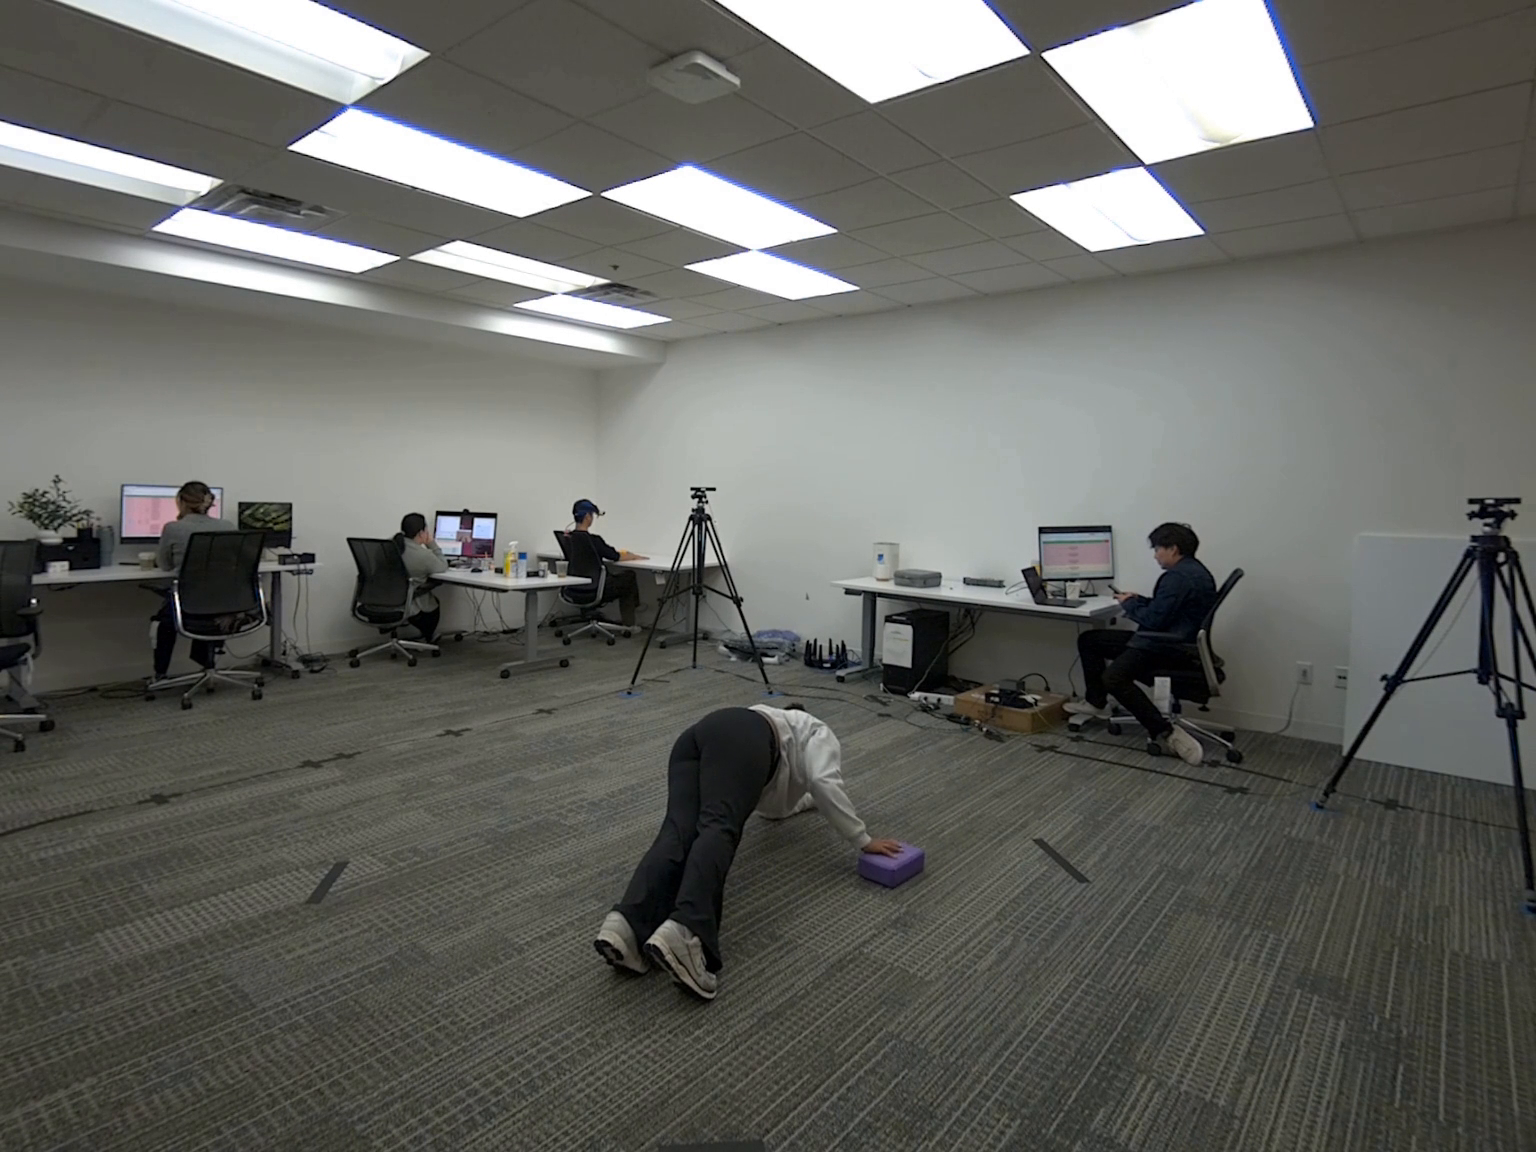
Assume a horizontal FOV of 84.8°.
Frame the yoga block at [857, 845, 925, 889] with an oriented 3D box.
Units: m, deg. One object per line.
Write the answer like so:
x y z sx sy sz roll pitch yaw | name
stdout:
0.425 1.044 3.102 0.154 0.076 0.222 6 7 43 | yoga block
